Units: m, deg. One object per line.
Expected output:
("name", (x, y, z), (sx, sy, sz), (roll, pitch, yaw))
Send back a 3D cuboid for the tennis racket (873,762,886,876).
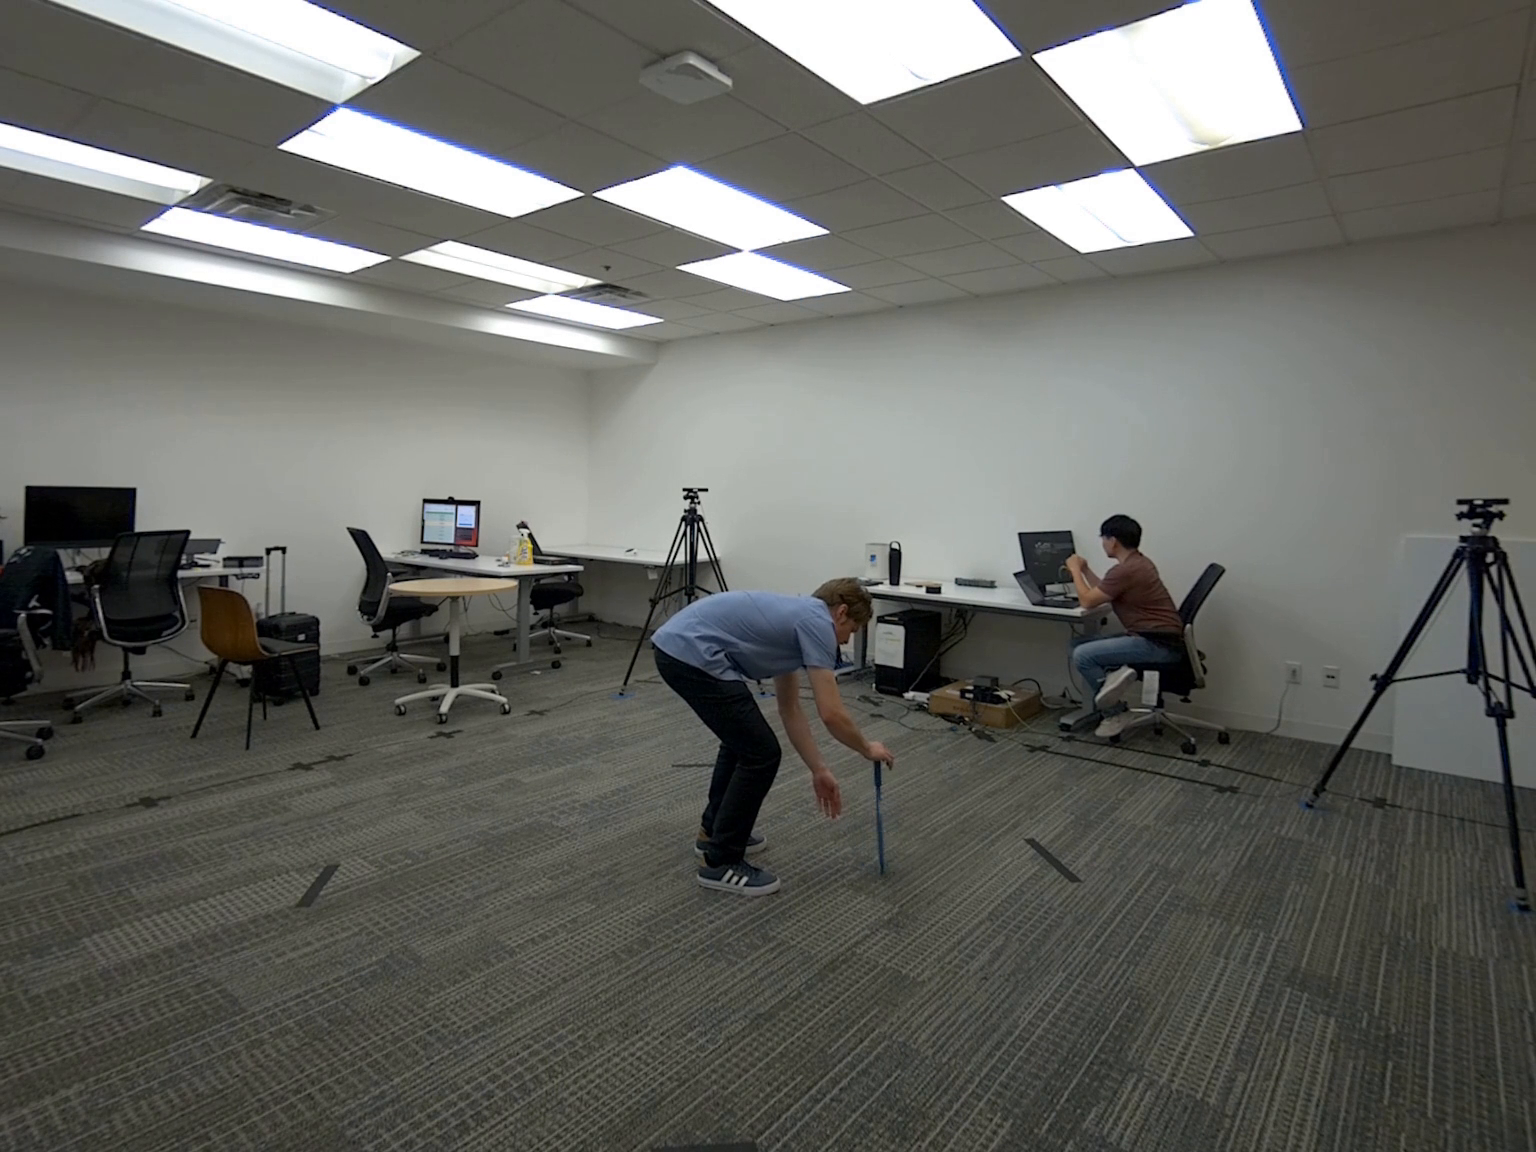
("tennis racket", (0.389, 0.869, 3.124), (0.032, 0.432, 0.210), (0, 3, 15))
